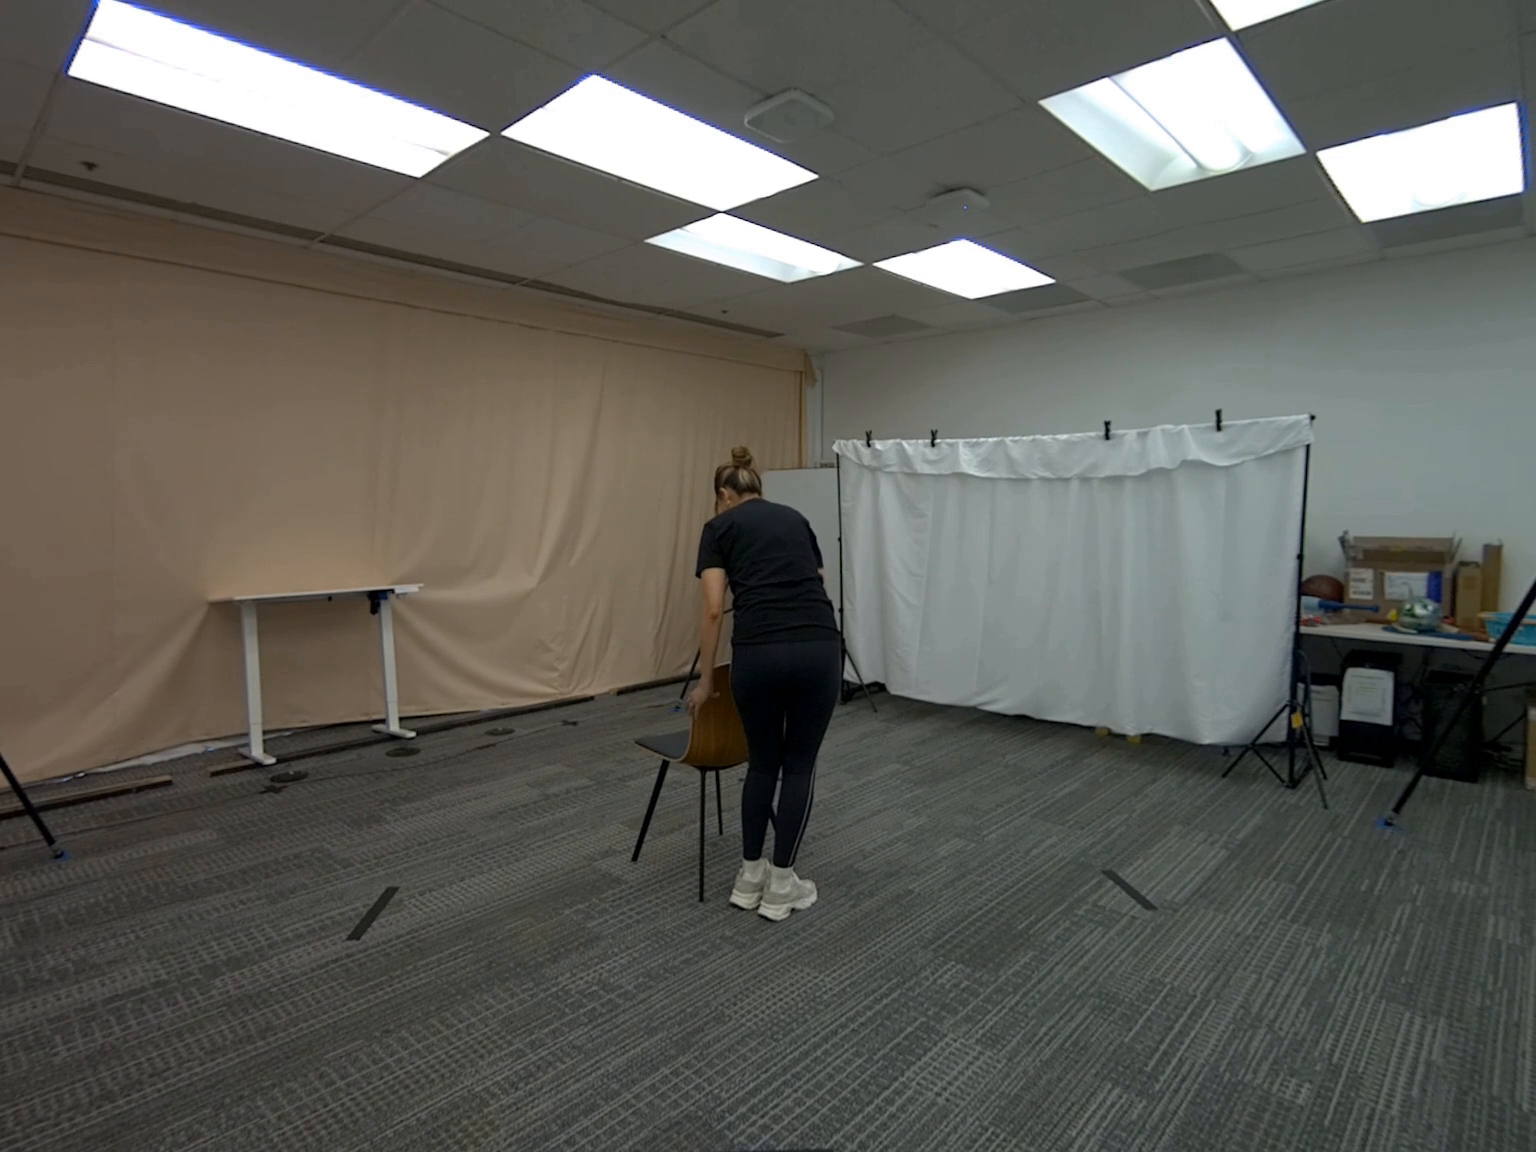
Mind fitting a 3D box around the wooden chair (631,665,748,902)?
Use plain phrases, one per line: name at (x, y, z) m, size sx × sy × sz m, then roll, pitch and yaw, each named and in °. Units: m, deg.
wooden chair at (-0.230, 0.693, 3.246) m, size 0.463 × 0.874 × 0.541 m, roll -3°, pitch 8°, yaw -39°
